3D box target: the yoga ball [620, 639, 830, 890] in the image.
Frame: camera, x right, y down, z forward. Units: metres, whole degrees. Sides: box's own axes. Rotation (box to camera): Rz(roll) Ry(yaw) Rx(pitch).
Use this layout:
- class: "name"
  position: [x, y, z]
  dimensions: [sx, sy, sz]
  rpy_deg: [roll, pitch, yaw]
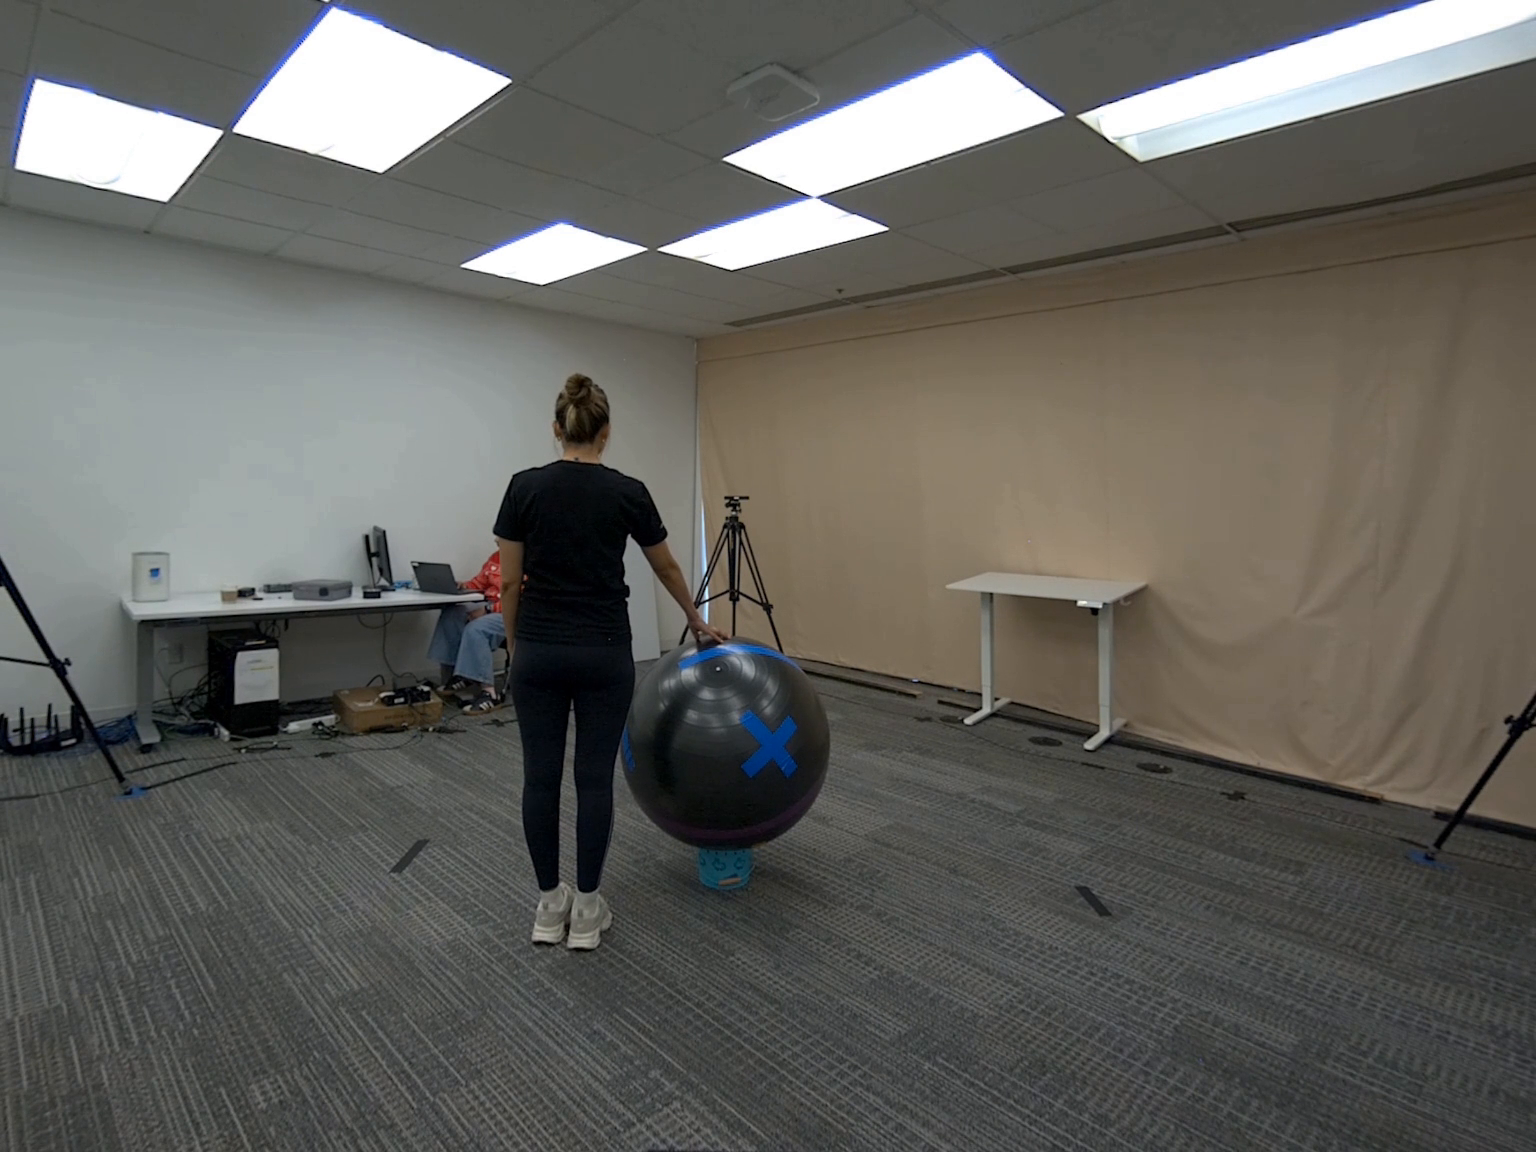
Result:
- class: "yoga ball"
  position: [-0.159, 0.605, 3.045]
  dimensions: [0.757, 0.756, 0.761]
  rpy_deg: [1, 4, -1]
